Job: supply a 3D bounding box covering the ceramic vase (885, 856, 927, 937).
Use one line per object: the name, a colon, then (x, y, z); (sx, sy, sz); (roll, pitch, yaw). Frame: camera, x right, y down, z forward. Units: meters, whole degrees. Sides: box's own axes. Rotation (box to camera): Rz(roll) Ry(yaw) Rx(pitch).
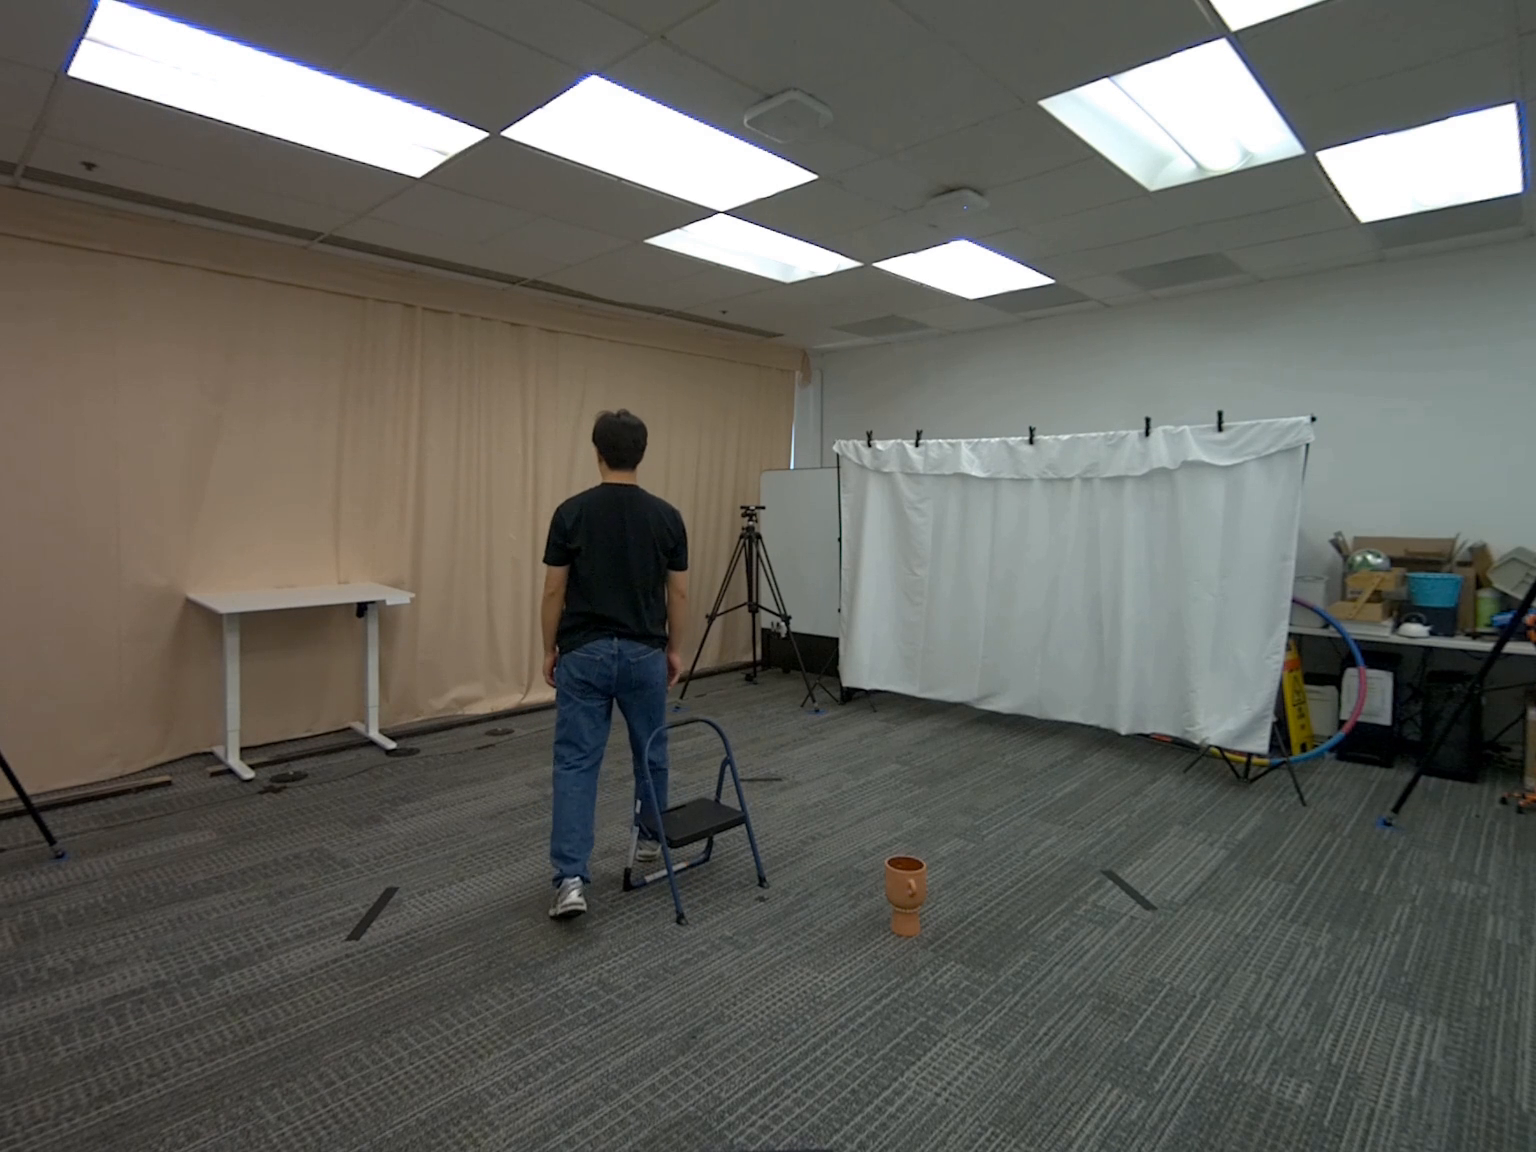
ceramic vase: (0.454, 1.048, 2.757); (0.139, 0.219, 0.154); (1, 4, 32)
